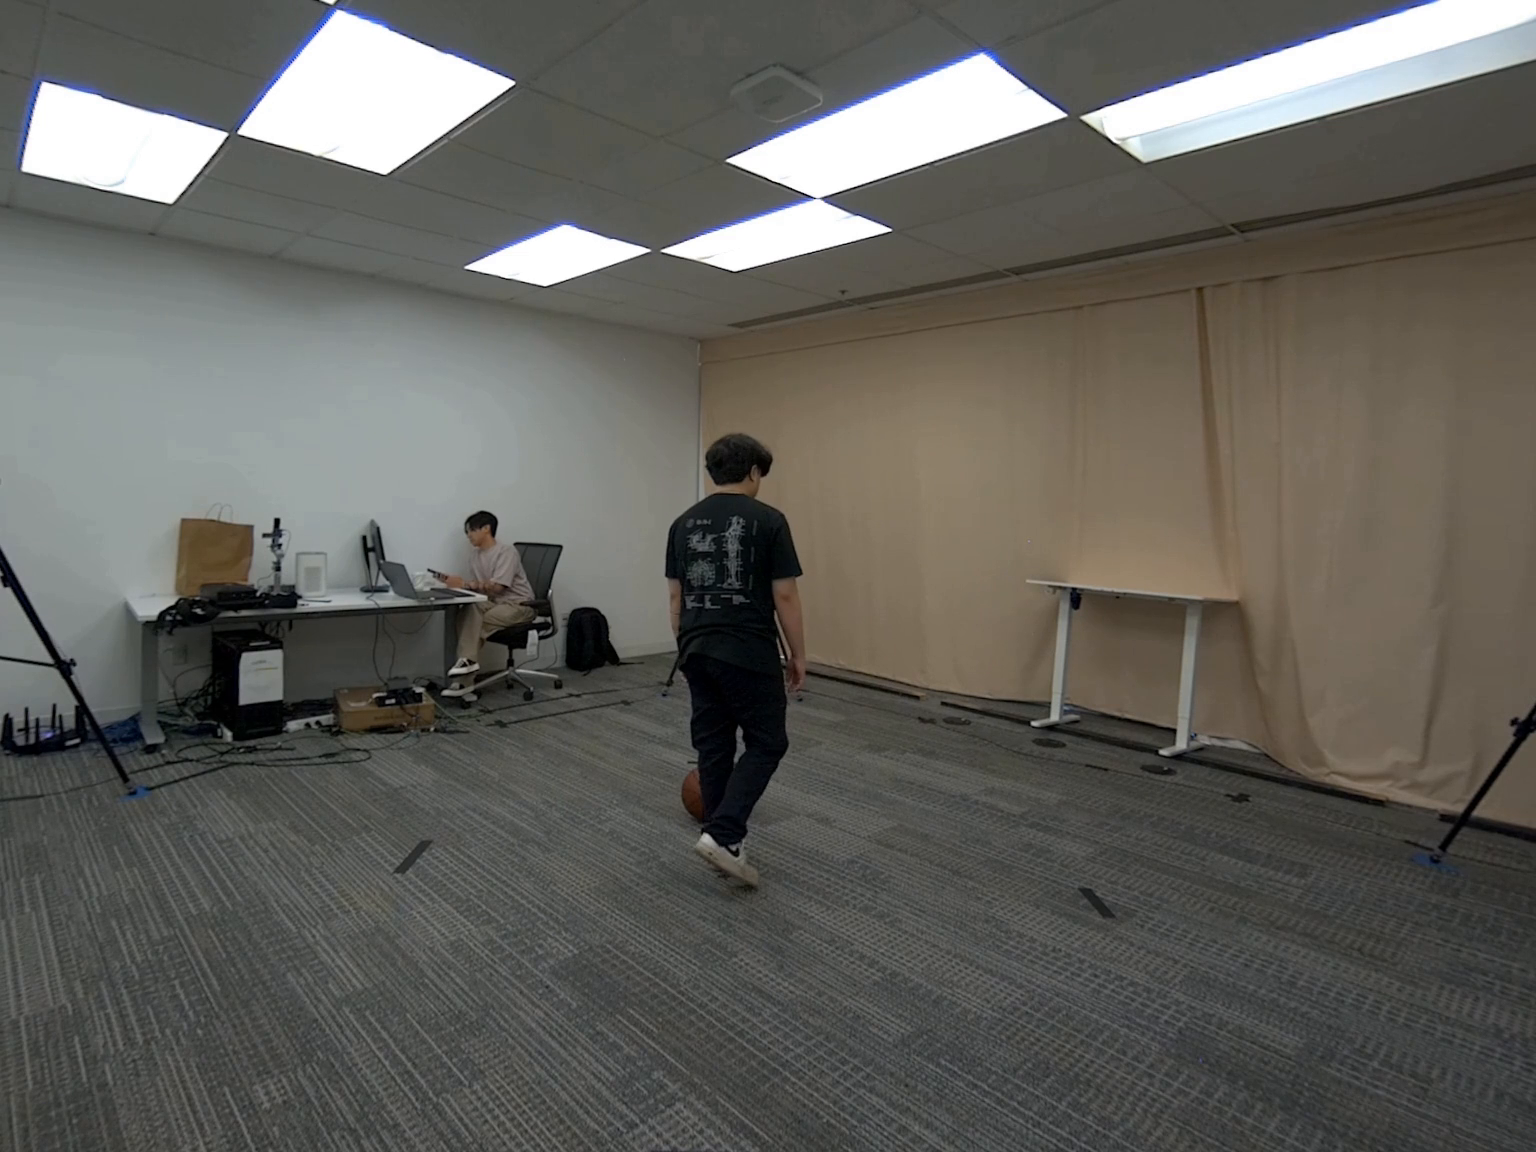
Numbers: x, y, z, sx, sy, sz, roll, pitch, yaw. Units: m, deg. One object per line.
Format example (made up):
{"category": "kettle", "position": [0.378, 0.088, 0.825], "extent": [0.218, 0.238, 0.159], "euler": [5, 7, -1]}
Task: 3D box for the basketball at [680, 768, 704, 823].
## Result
{"category": "basketball", "position": [-0.268, 0.937, 3.647], "extent": [0.236, 0.235, 0.237], "euler": [1, 4, -1]}
